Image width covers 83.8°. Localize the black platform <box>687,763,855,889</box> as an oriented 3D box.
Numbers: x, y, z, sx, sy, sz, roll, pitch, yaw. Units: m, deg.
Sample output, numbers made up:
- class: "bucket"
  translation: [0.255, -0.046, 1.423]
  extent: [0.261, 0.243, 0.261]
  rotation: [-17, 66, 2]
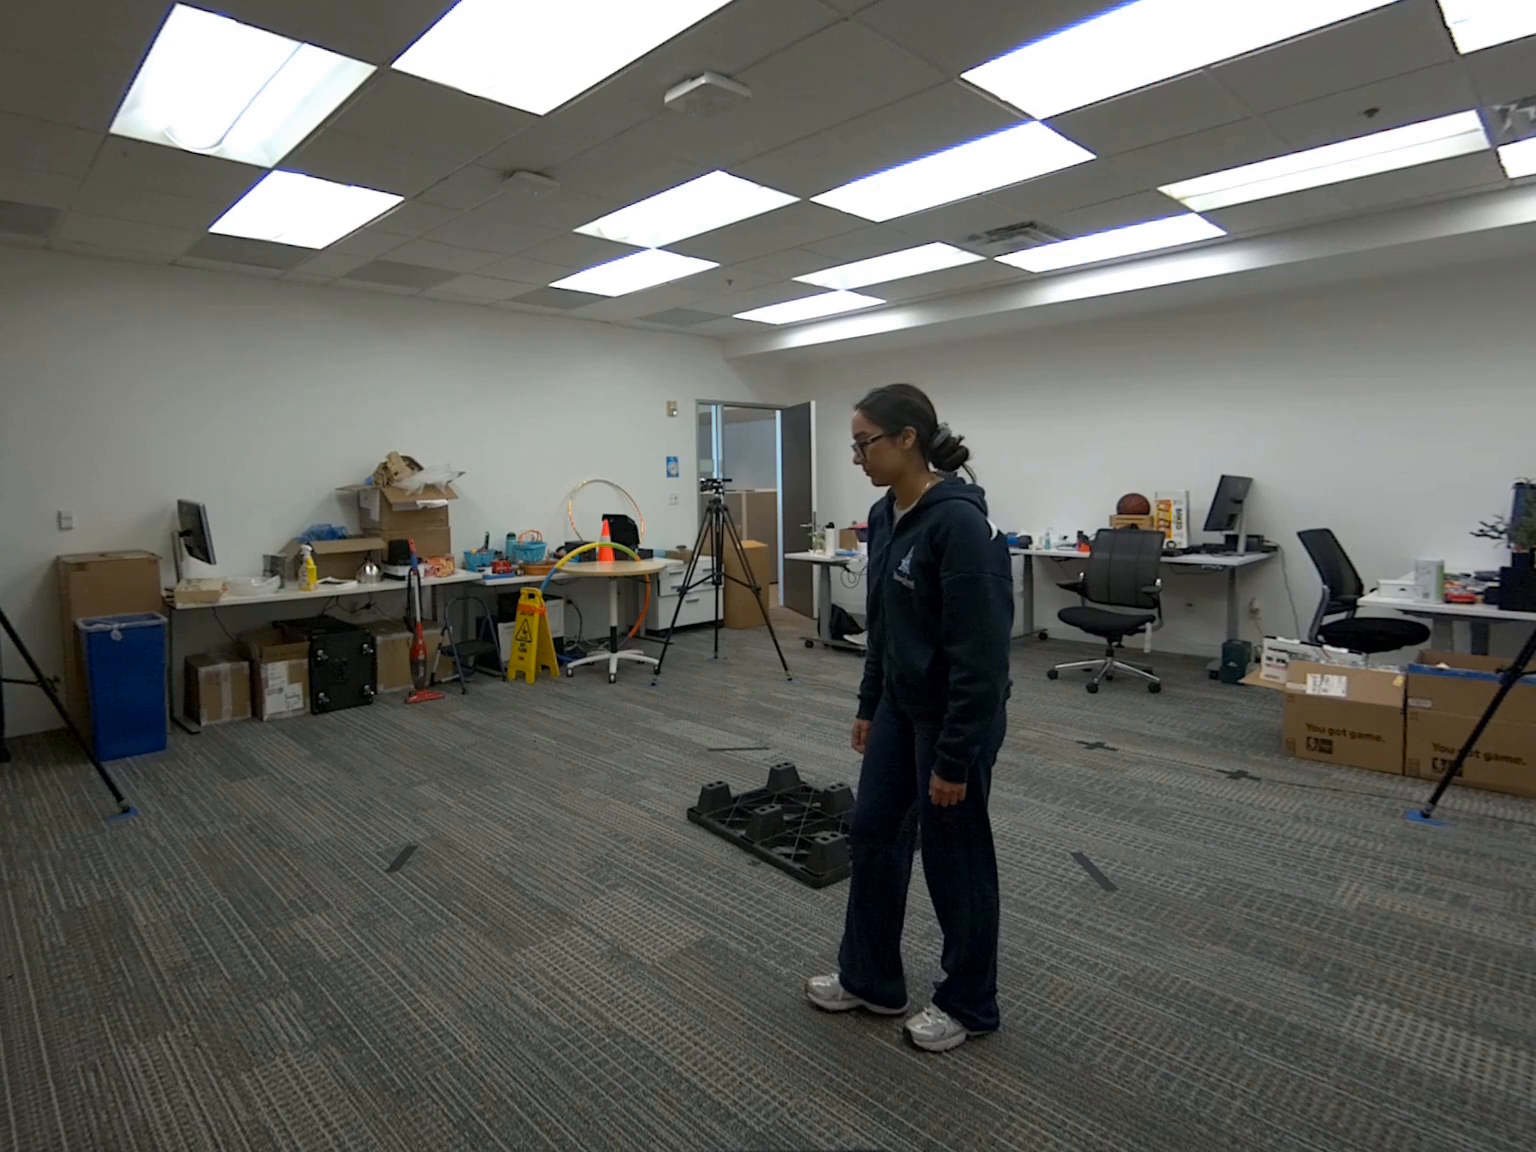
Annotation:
- class: "black platform"
  translation: [0.135, 0.937, 3.378]
  extent: [0.589, 0.143, 0.830]
  rotation: [-5, 7, -38]
